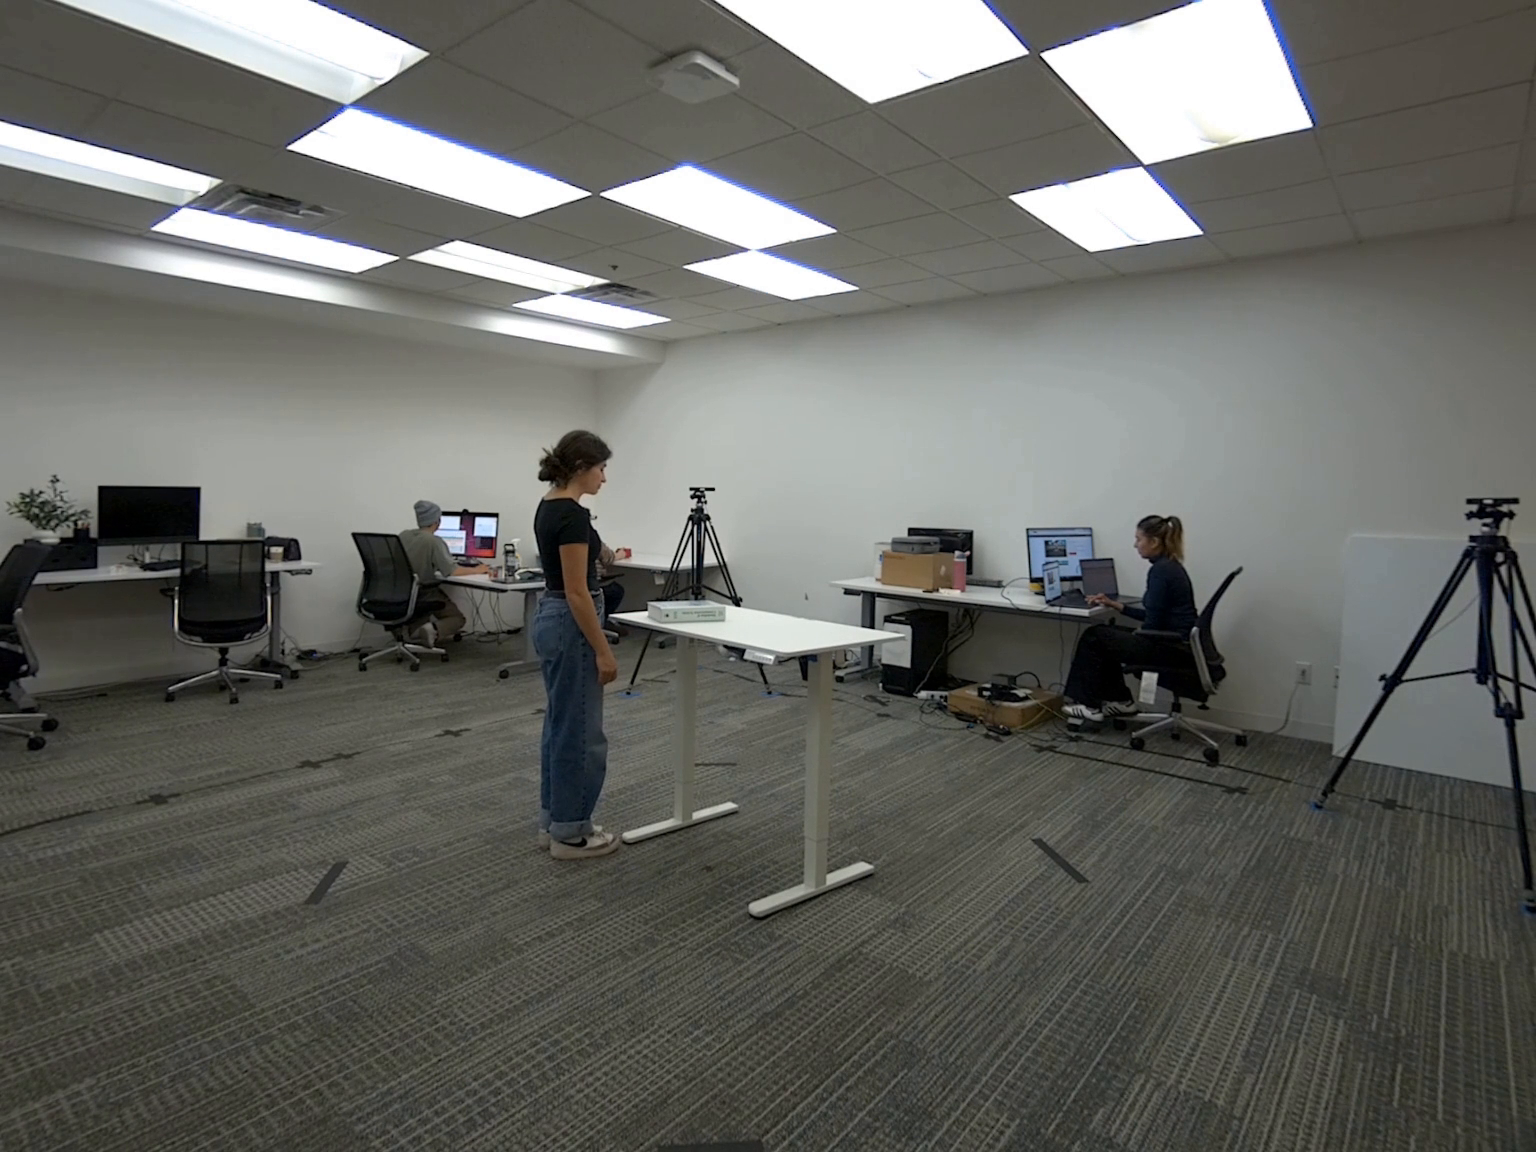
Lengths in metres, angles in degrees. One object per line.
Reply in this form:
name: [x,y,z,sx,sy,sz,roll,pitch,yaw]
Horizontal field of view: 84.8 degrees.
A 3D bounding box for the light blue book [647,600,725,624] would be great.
light blue book: [-0.341,0.138,3.296,0.255,0.059,0.196,-1,4,-24]
